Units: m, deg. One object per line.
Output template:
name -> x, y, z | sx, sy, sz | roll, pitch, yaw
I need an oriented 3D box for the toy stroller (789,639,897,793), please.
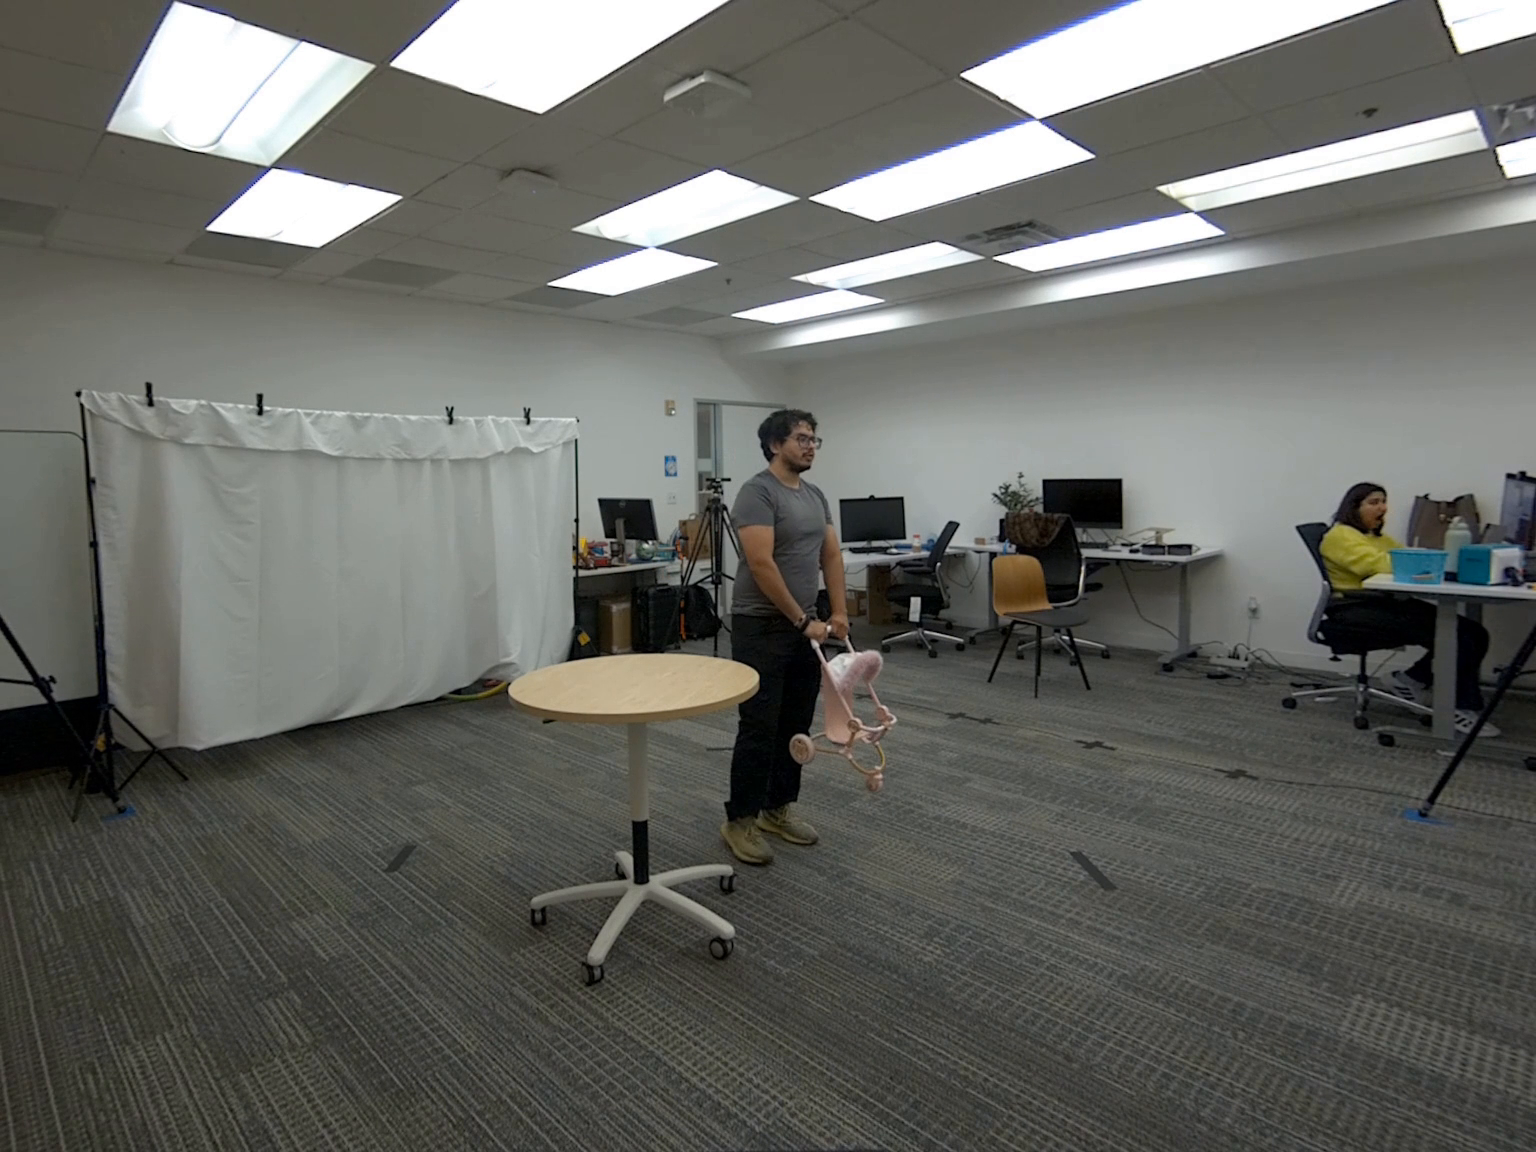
toy stroller -> 0.295, 0.487, 3.079 | 0.353, 0.531, 0.274 | 15, 14, 42
